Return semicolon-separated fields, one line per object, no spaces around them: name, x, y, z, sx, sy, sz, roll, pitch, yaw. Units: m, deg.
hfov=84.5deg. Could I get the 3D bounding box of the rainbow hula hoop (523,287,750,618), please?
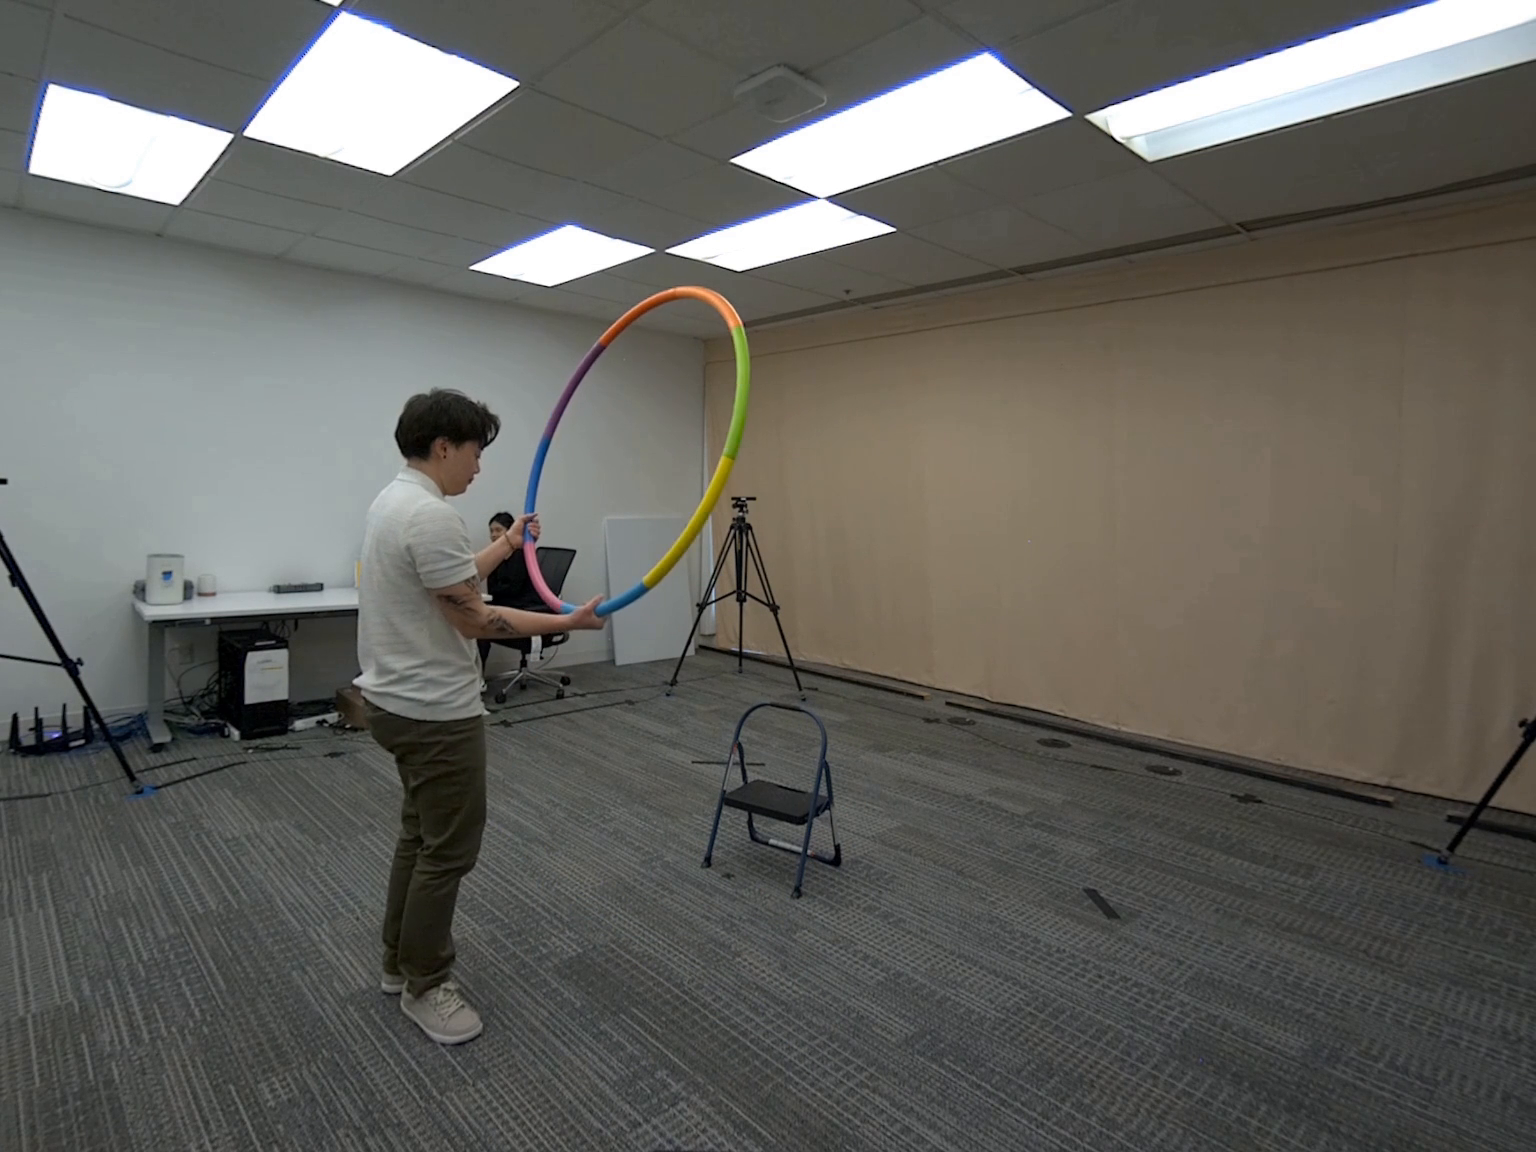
rainbow hula hoop;-0.409;-0.349;2.347;0.034;0.983;1.004;25;-12;-41
